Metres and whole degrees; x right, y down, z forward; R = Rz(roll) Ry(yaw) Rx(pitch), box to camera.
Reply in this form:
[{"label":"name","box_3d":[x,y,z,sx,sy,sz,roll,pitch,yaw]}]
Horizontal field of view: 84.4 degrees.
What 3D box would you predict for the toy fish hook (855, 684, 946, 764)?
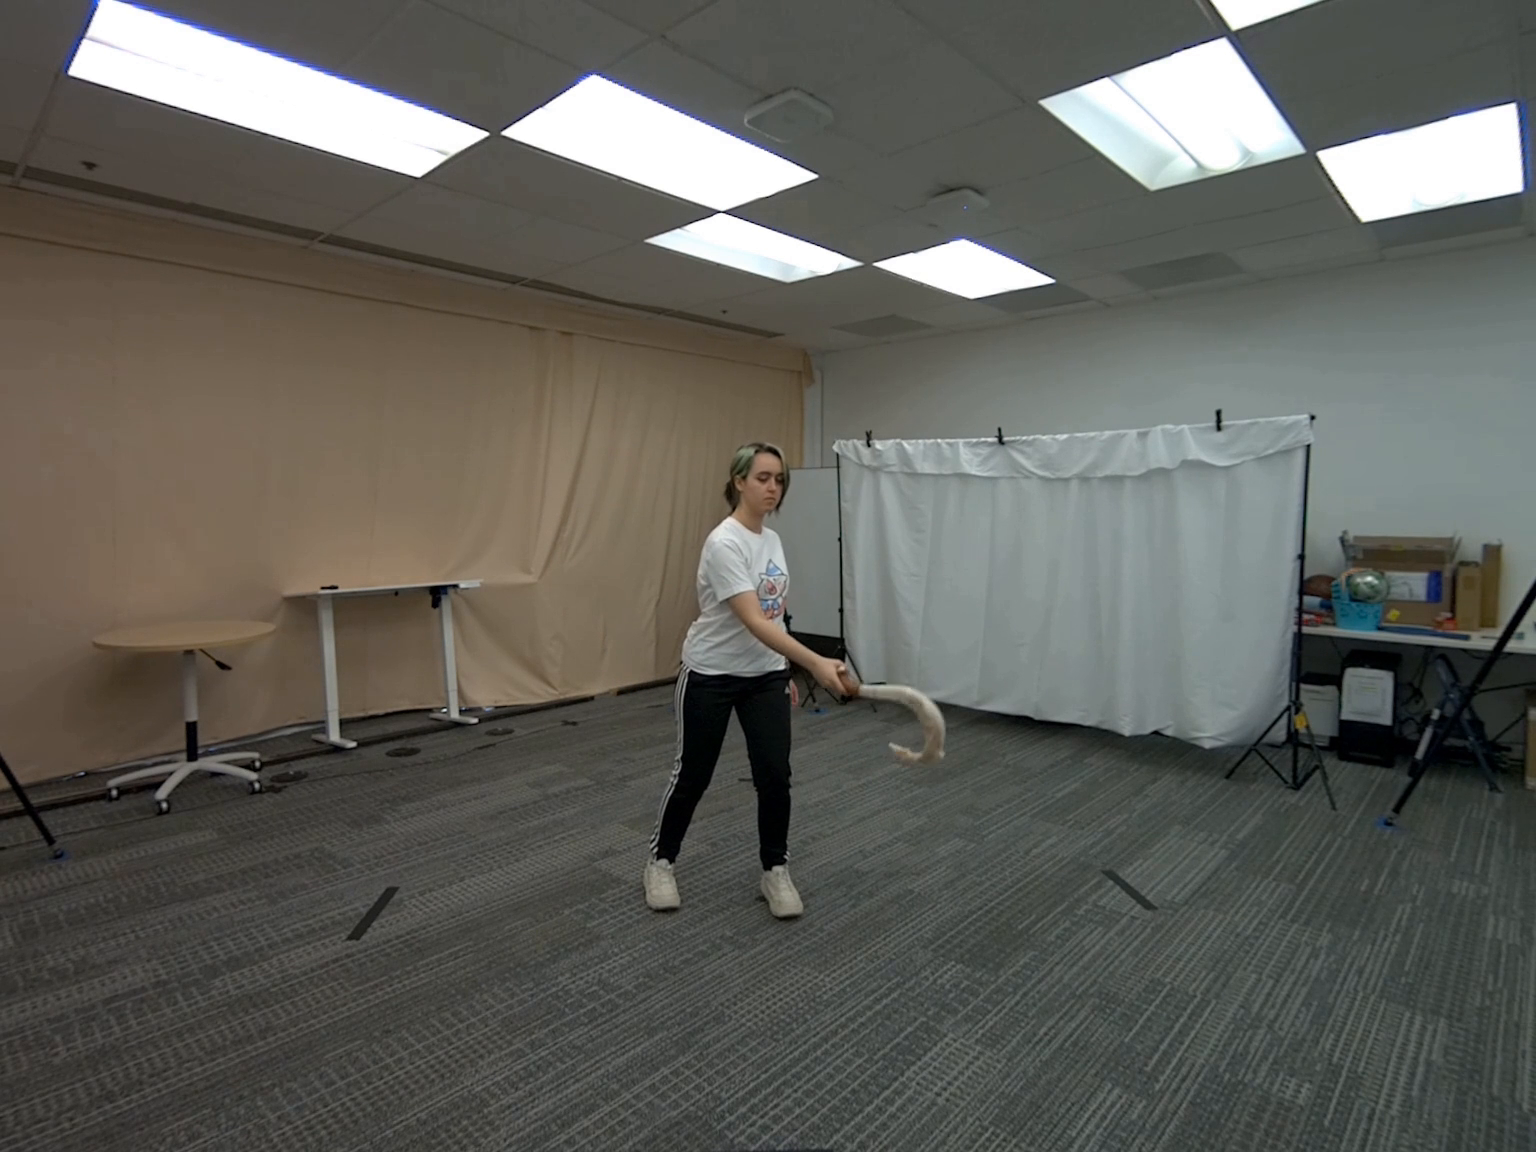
[{"label":"toy fish hook","box_3d":[0.316,0.375,2.448,0.047,0.223,0.524,-5,13,-36]}]
